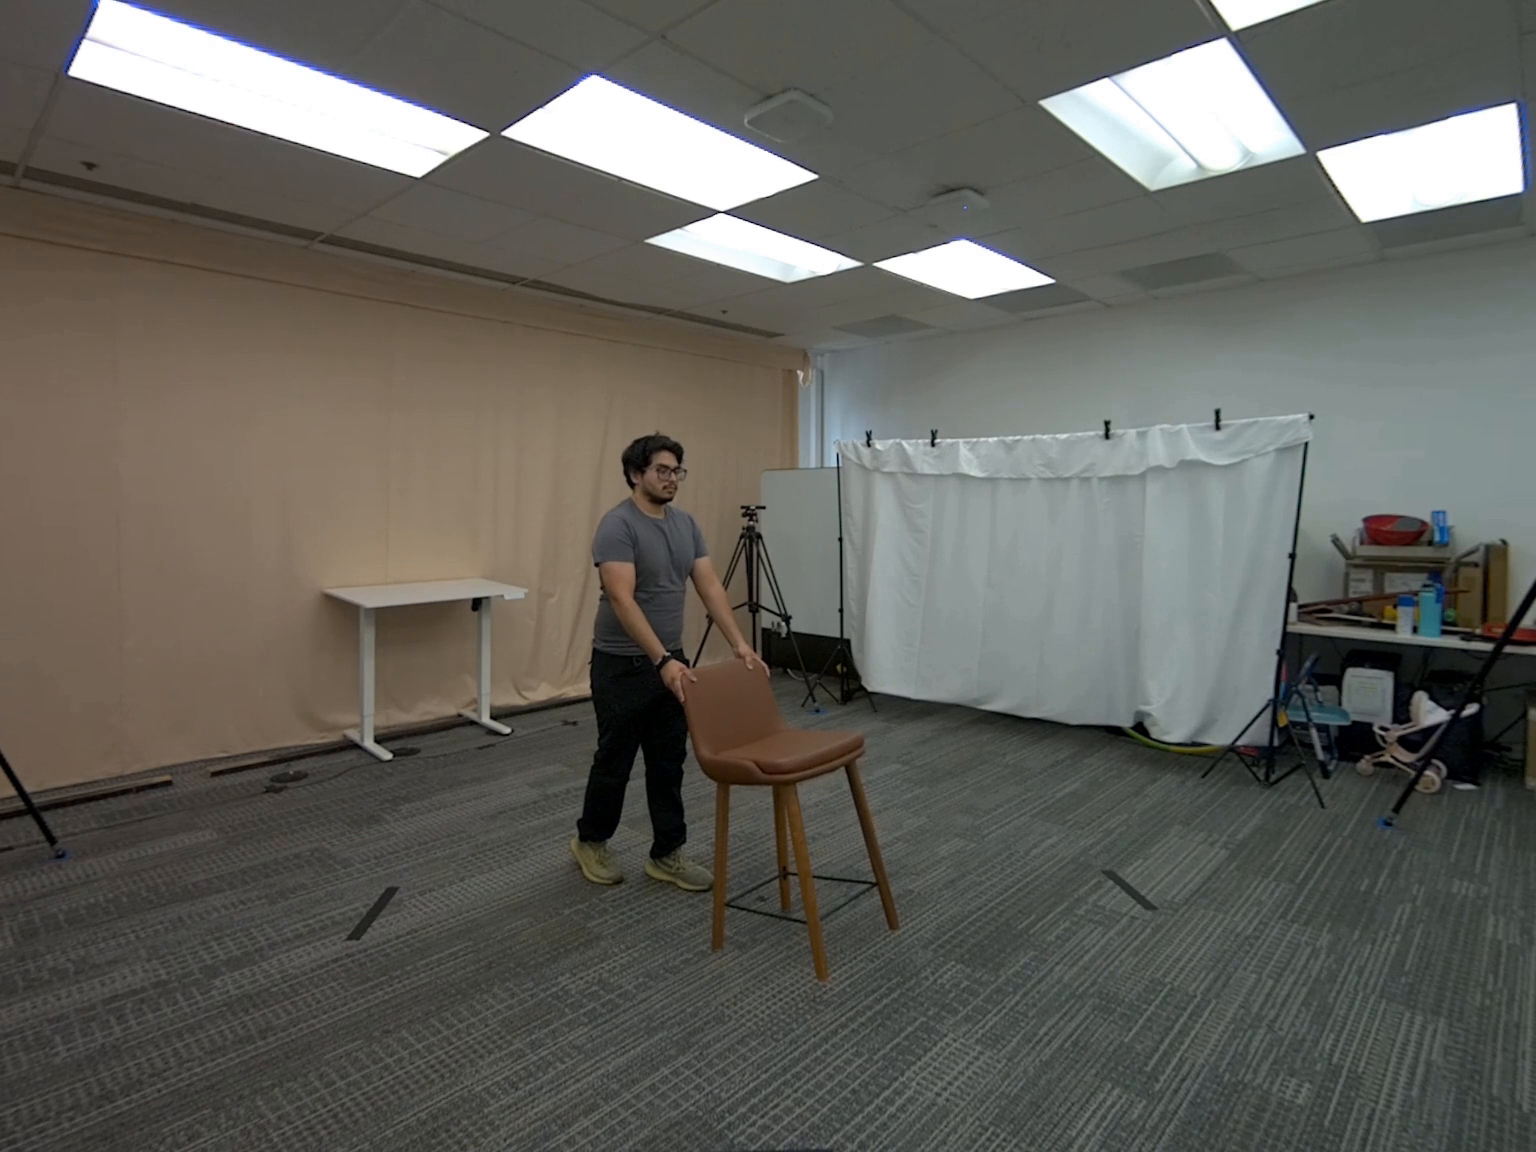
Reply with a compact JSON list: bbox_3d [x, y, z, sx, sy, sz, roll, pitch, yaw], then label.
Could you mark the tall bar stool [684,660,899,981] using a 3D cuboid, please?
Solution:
[{"bbox_3d":[0.054,0.705,2.660,0.480,0.893,0.442,-13,-6,42],"label":"tall bar stool"}]
